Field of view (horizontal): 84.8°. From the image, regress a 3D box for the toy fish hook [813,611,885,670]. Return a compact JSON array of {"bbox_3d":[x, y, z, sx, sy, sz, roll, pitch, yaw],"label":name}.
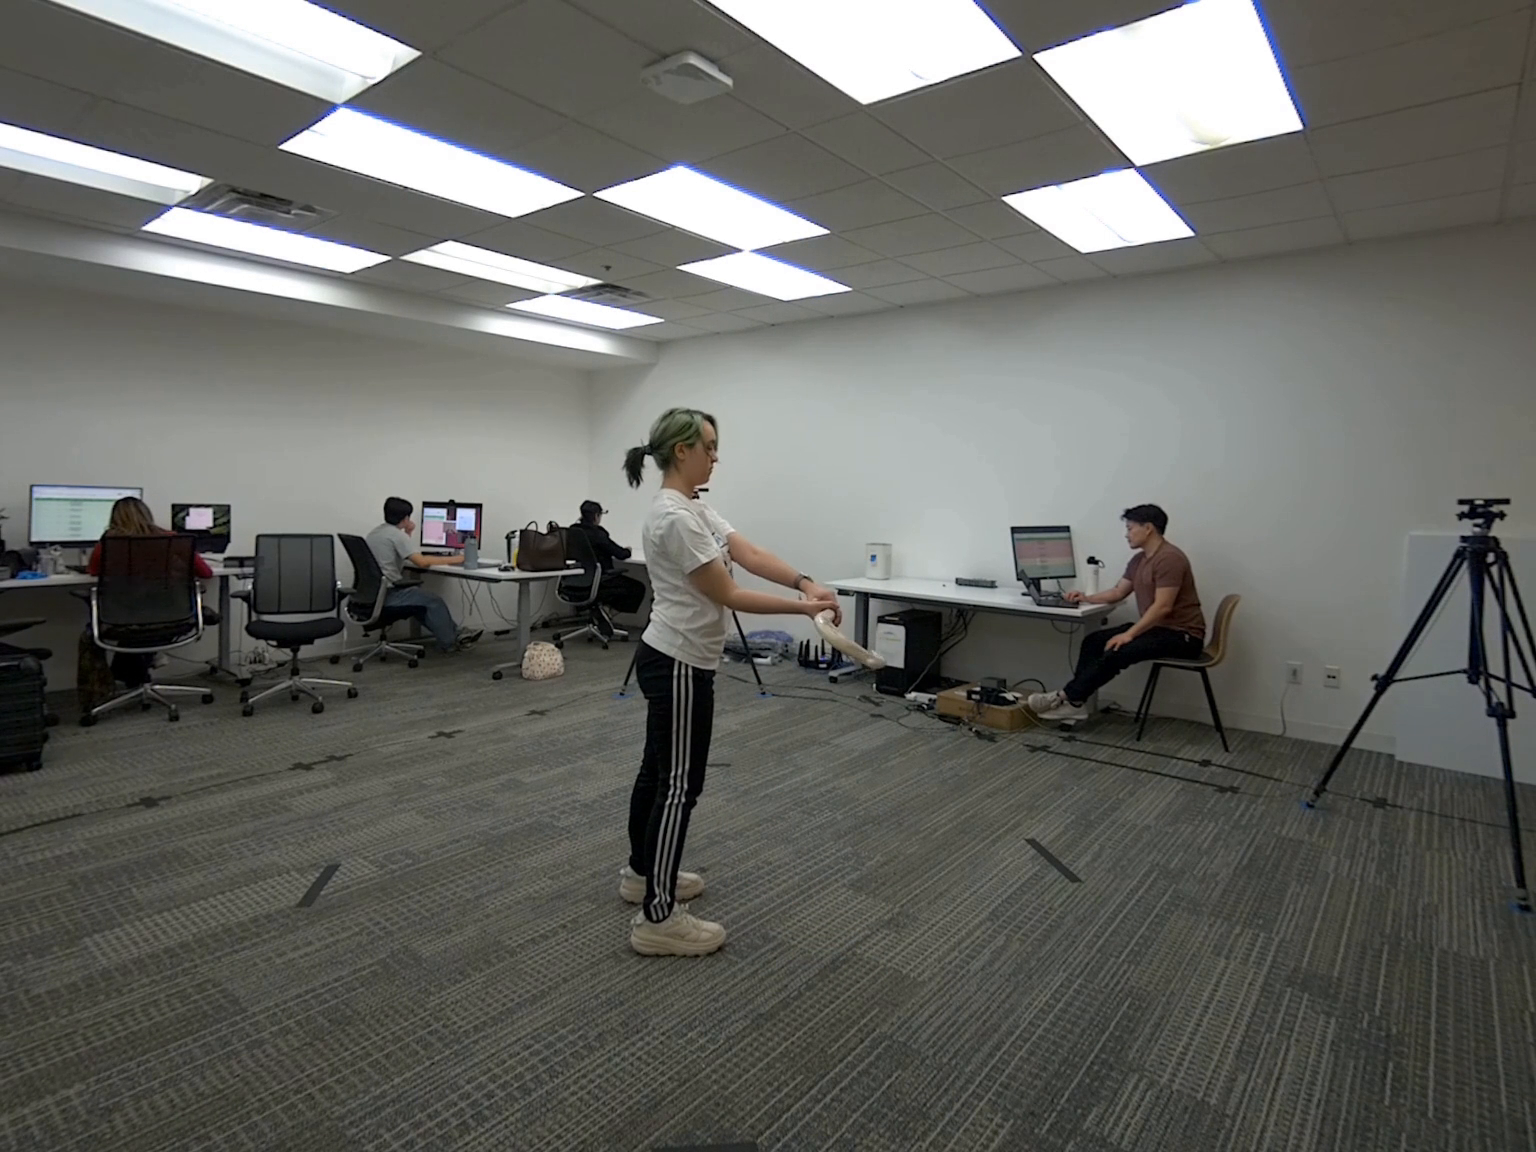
[{"bbox_3d":[0.228,0.142,2.374,0.223,0.048,0.511,37,8,-7],"label":"toy fish hook"}]
